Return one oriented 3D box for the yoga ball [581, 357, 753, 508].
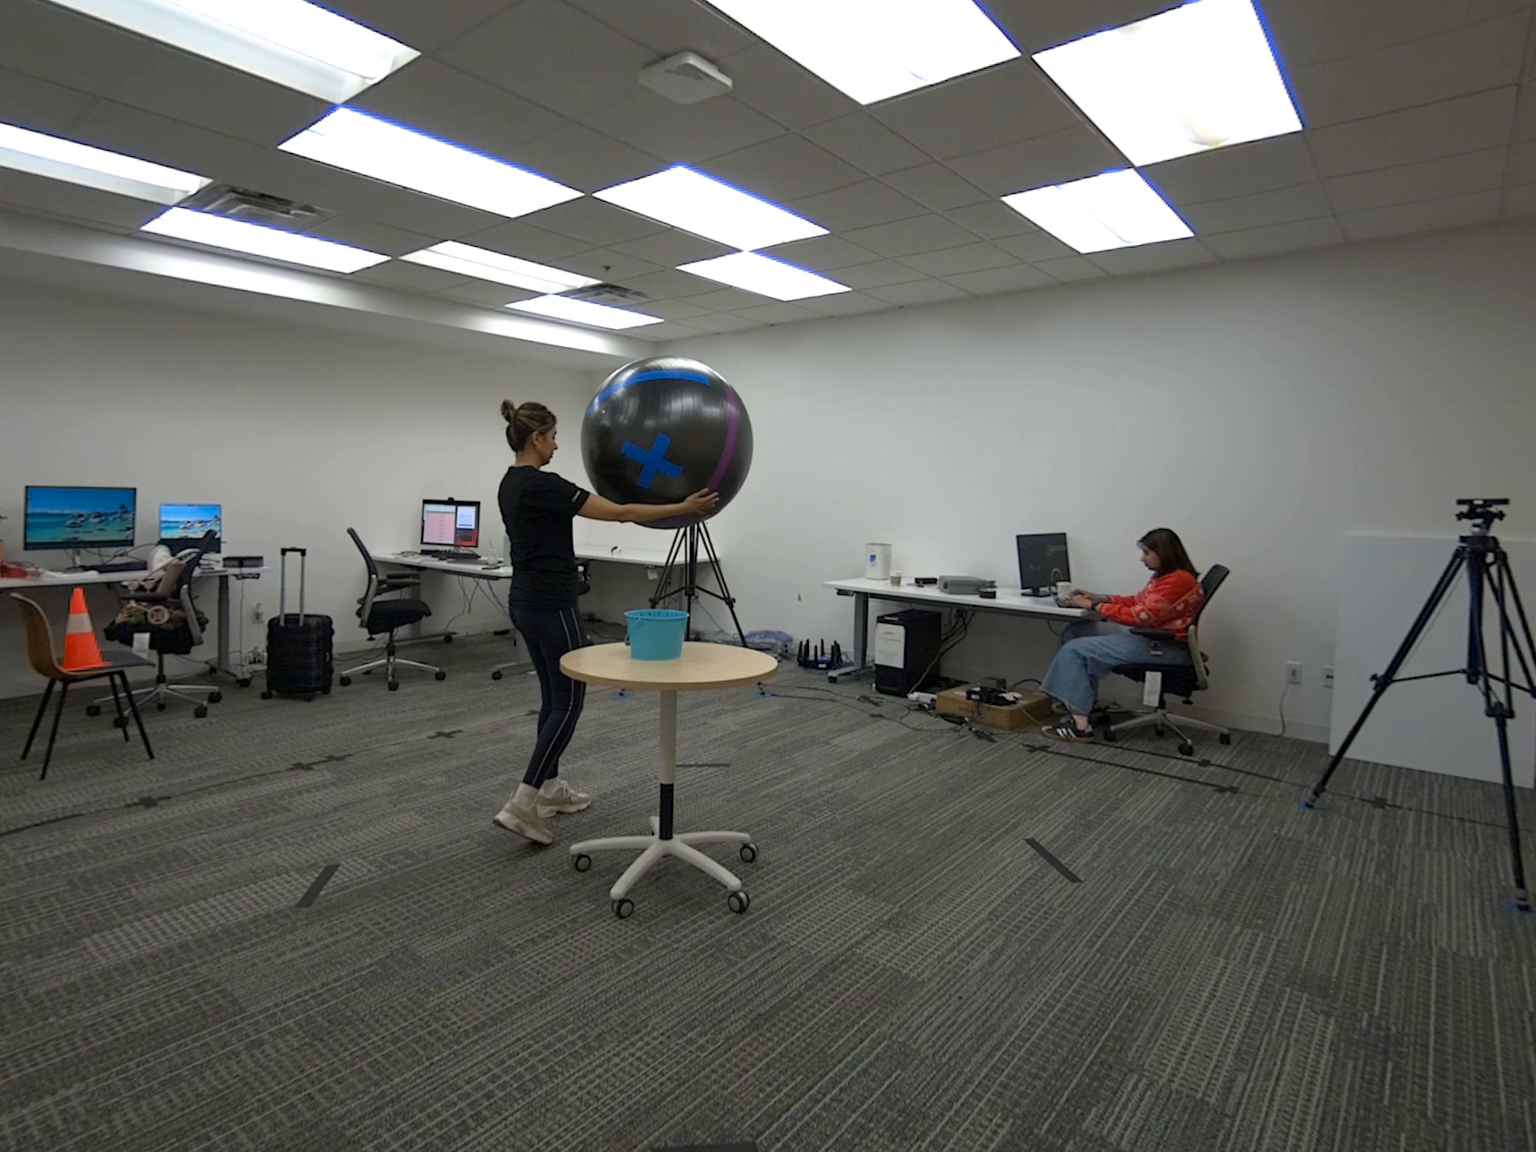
[{"bbox_3d":[-0.458,-0.577,3.732,0.757,0.756,0.761,1,4,-2],"label":"yoga ball"}]
